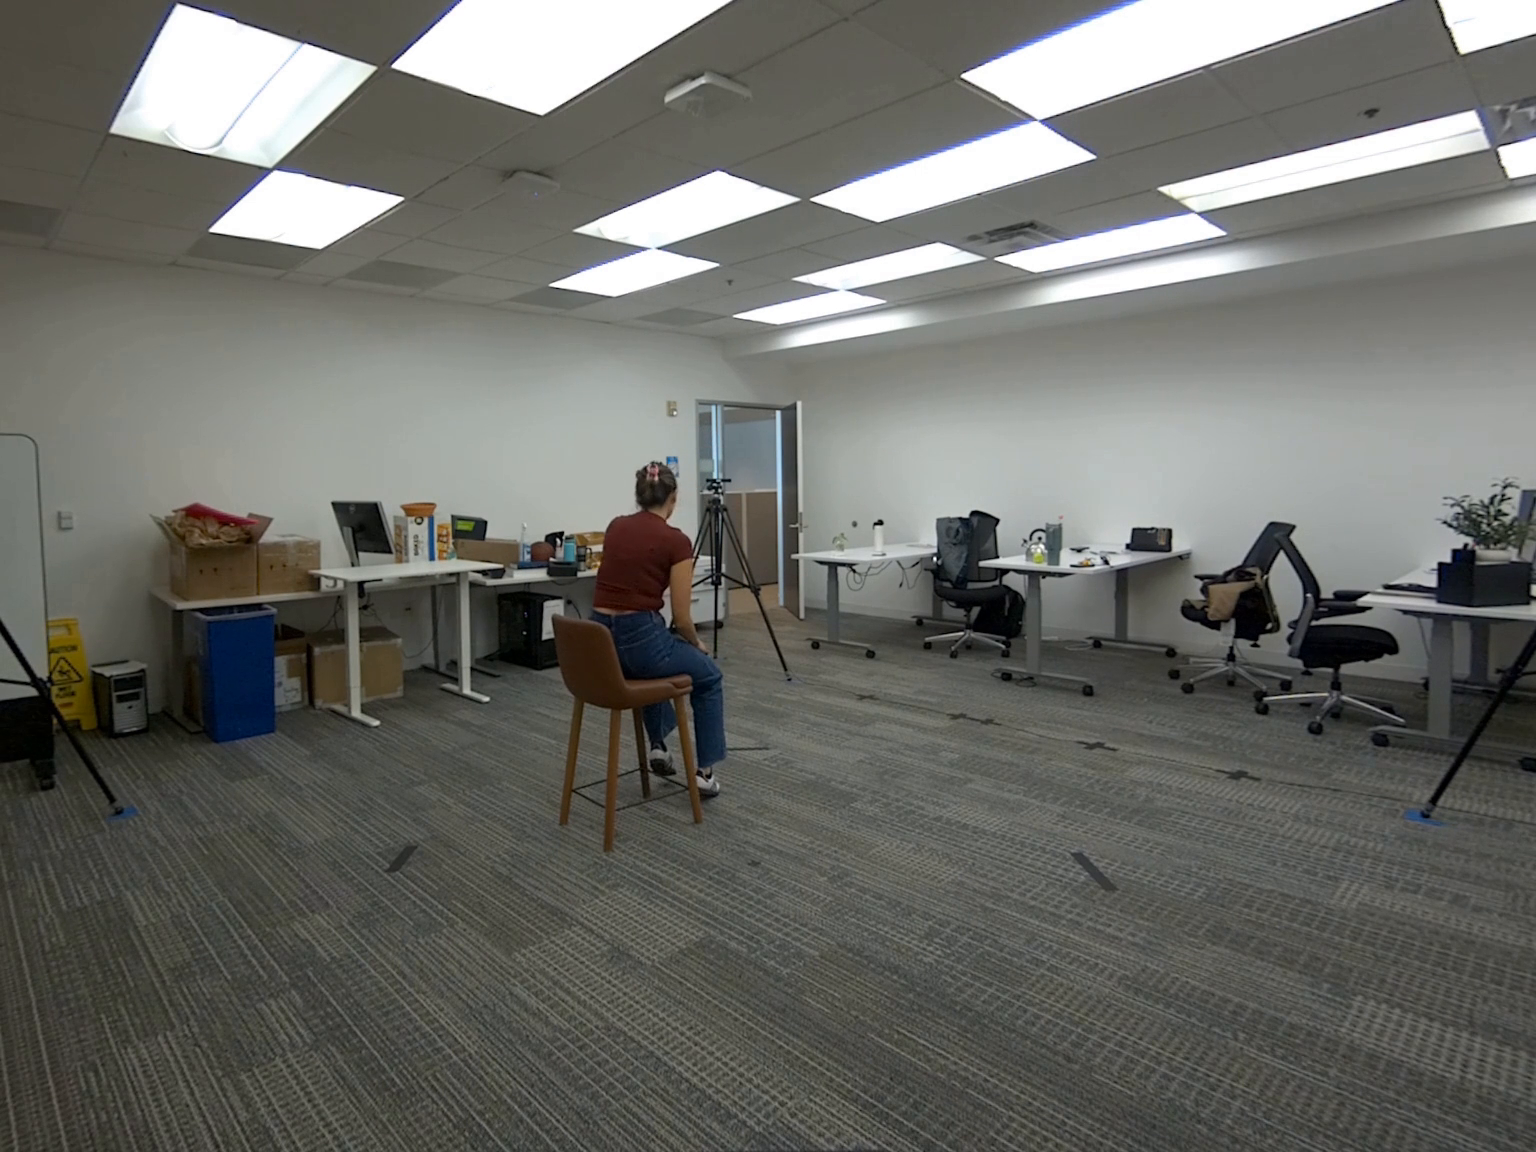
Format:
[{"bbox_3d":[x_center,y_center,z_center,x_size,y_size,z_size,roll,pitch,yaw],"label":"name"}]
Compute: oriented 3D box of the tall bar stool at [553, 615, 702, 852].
[{"bbox_3d":[-0.594,0.584,3.477,0.456,0.886,0.470,-7,6,-41],"label":"tall bar stool"}]
